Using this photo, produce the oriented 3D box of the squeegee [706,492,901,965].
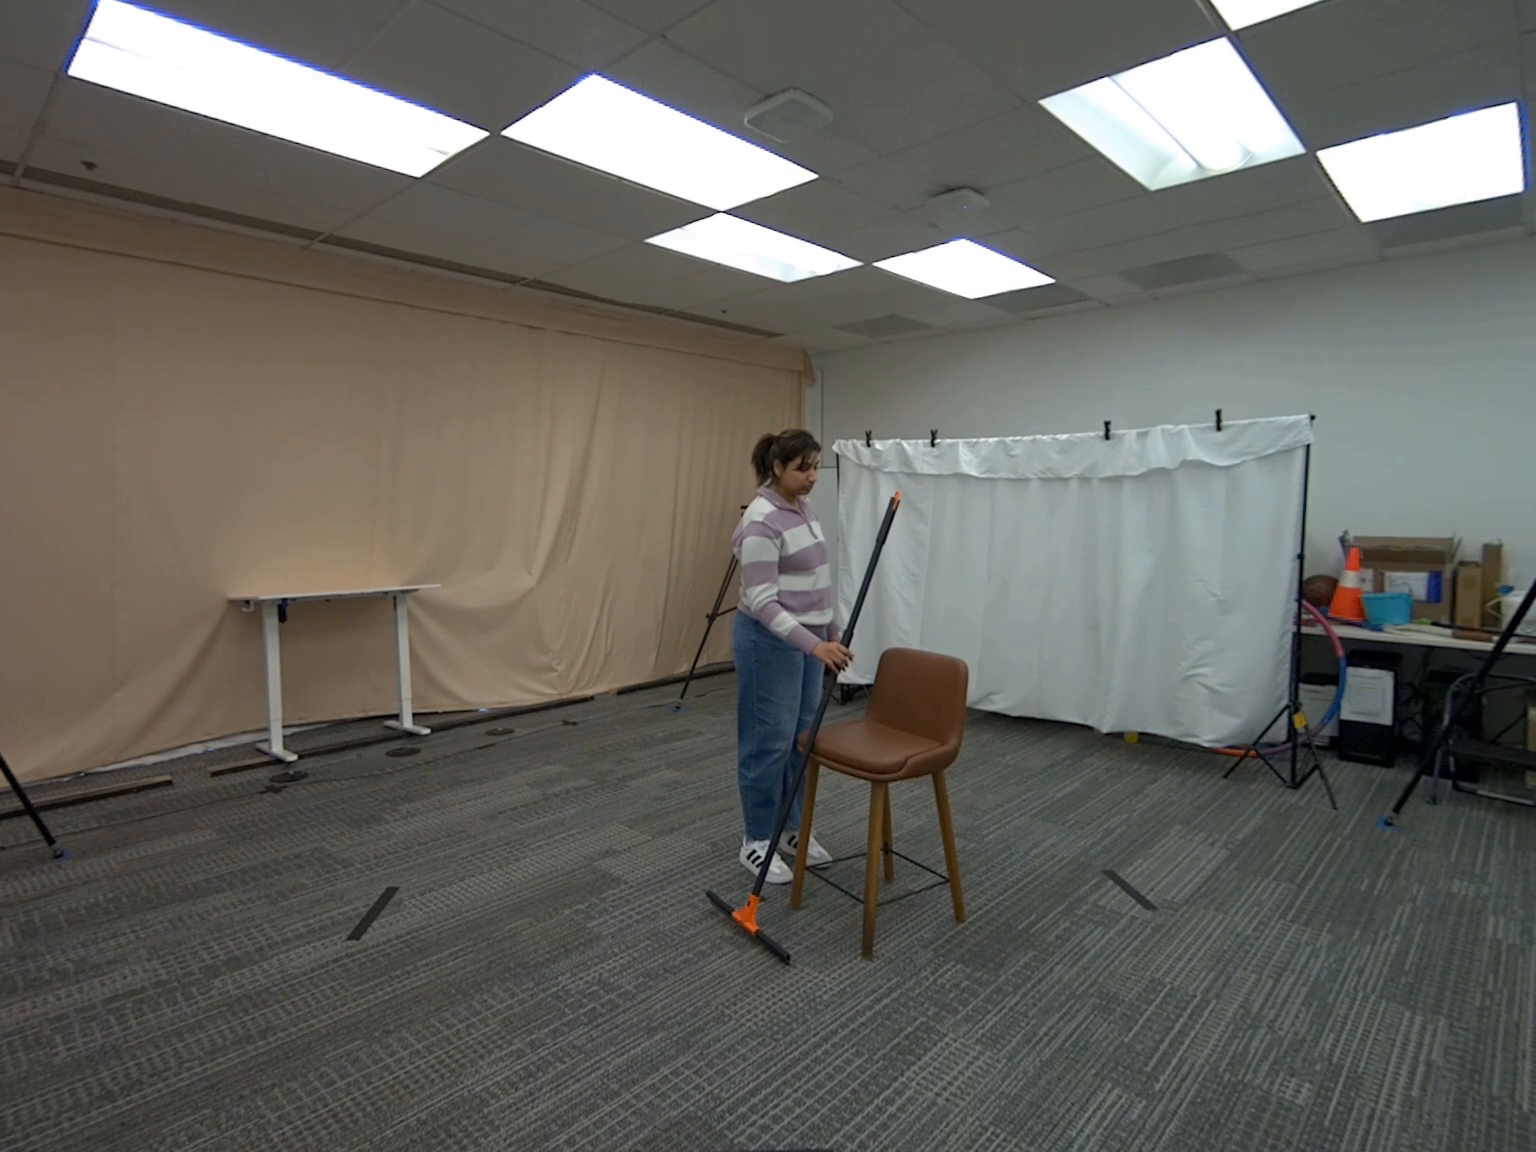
[{"bbox_3d":[0.182,0.430,2.792,0.051,1.539,0.453,25,-7,-41],"label":"squeegee"}]
